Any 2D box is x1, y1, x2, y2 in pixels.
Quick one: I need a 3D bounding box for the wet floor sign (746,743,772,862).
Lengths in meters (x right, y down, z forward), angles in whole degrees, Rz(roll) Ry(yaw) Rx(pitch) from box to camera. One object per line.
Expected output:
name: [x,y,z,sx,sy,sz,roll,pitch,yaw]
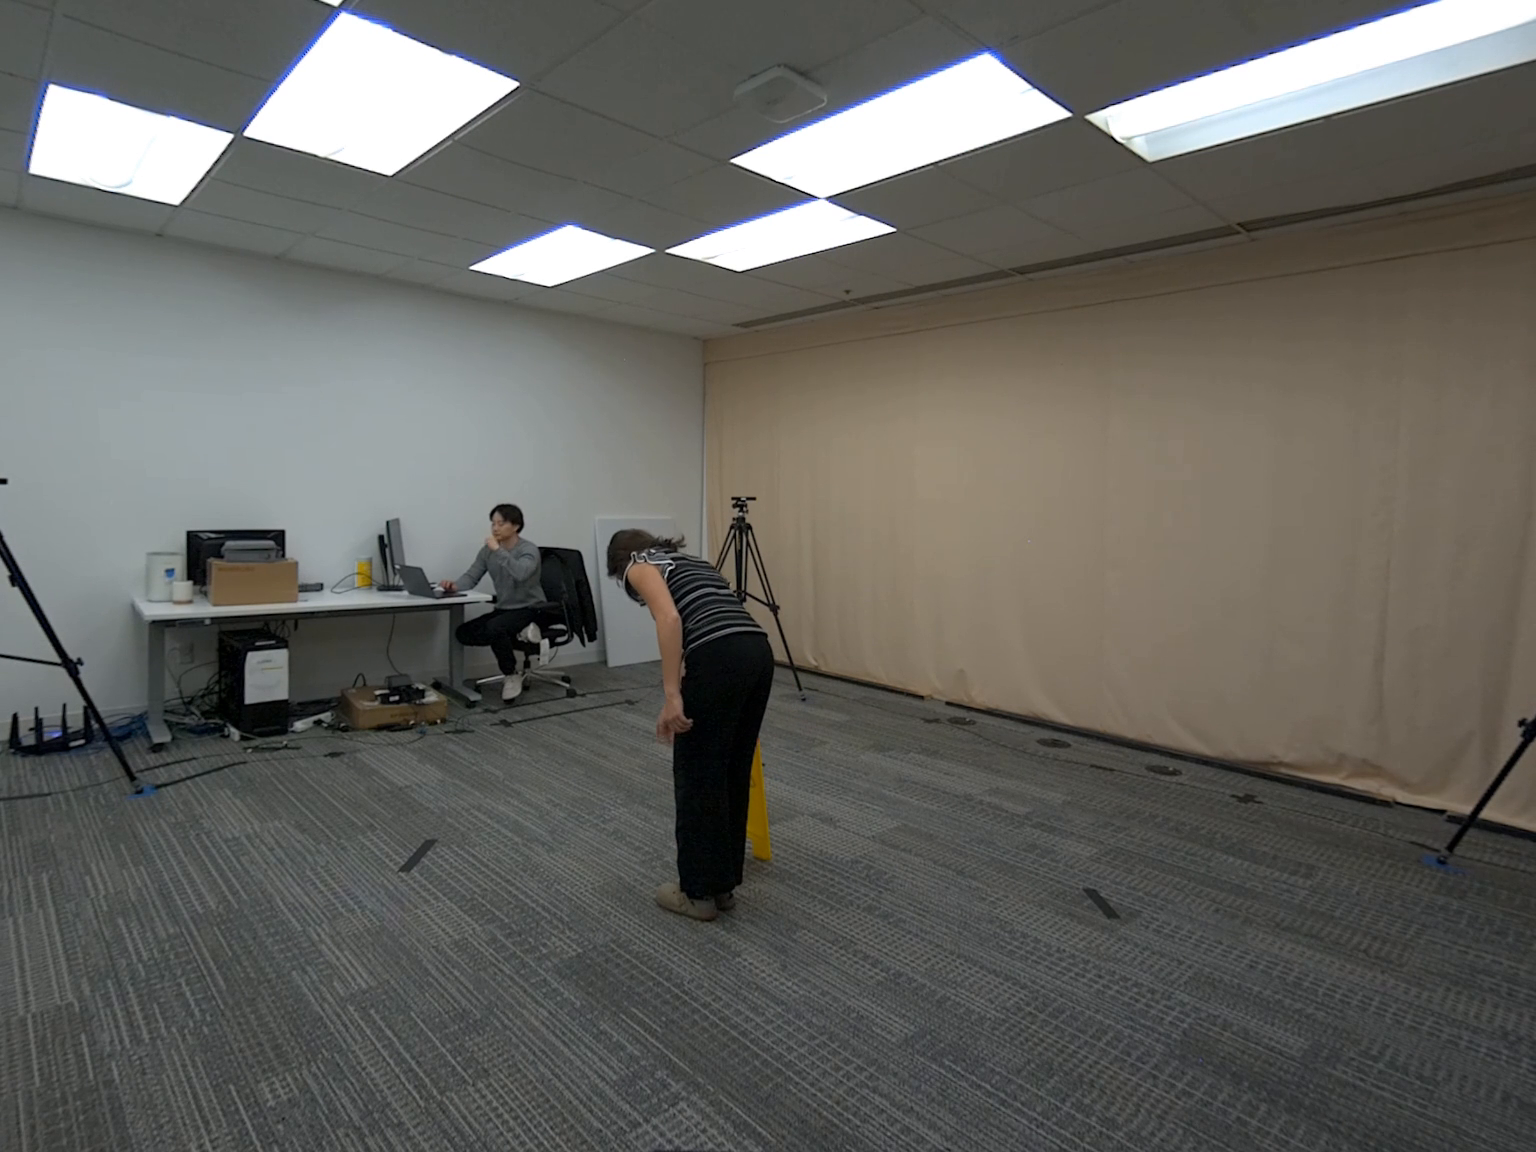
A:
wet floor sign: [-0.160,0.777,3.213,0.289,0.645,0.284,4,4,32]
